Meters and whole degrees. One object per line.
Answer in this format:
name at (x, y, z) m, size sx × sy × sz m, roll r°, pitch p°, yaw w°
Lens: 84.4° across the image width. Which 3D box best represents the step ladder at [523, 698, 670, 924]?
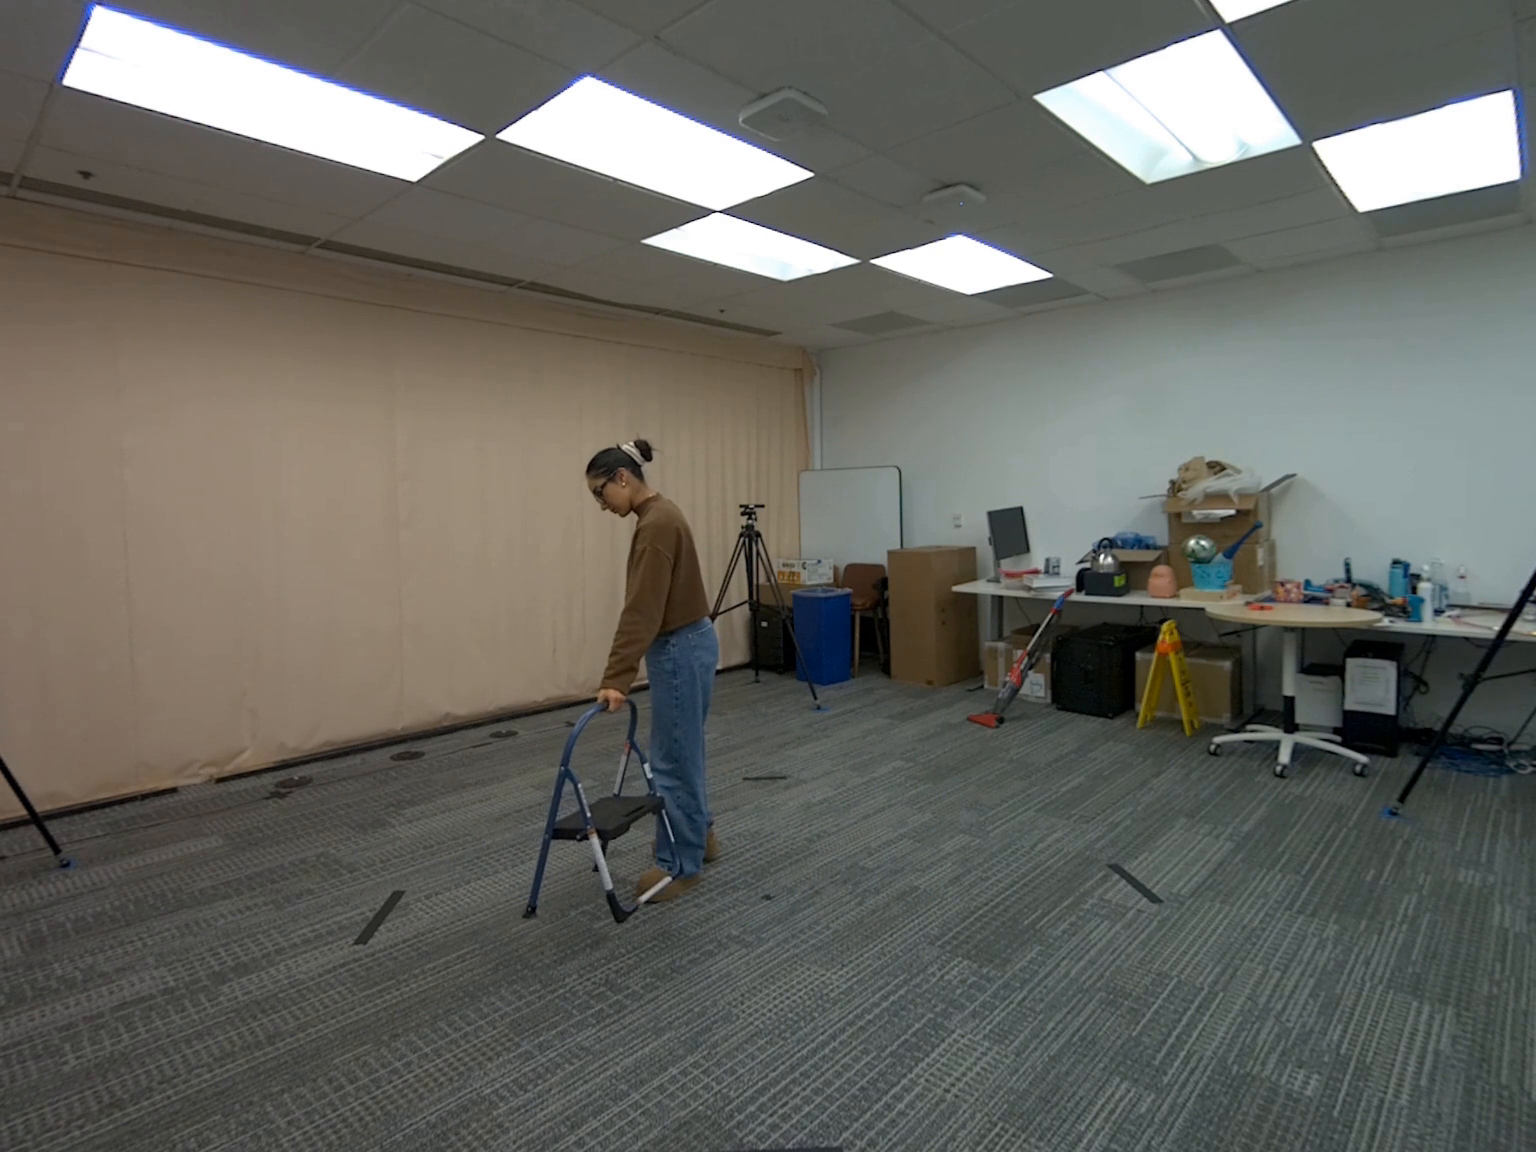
step ladder at (-0.537, 0.705, 2.656) m, size 0.356 × 0.607 × 0.421 m, roll -7°, pitch -2°, yaw 21°
